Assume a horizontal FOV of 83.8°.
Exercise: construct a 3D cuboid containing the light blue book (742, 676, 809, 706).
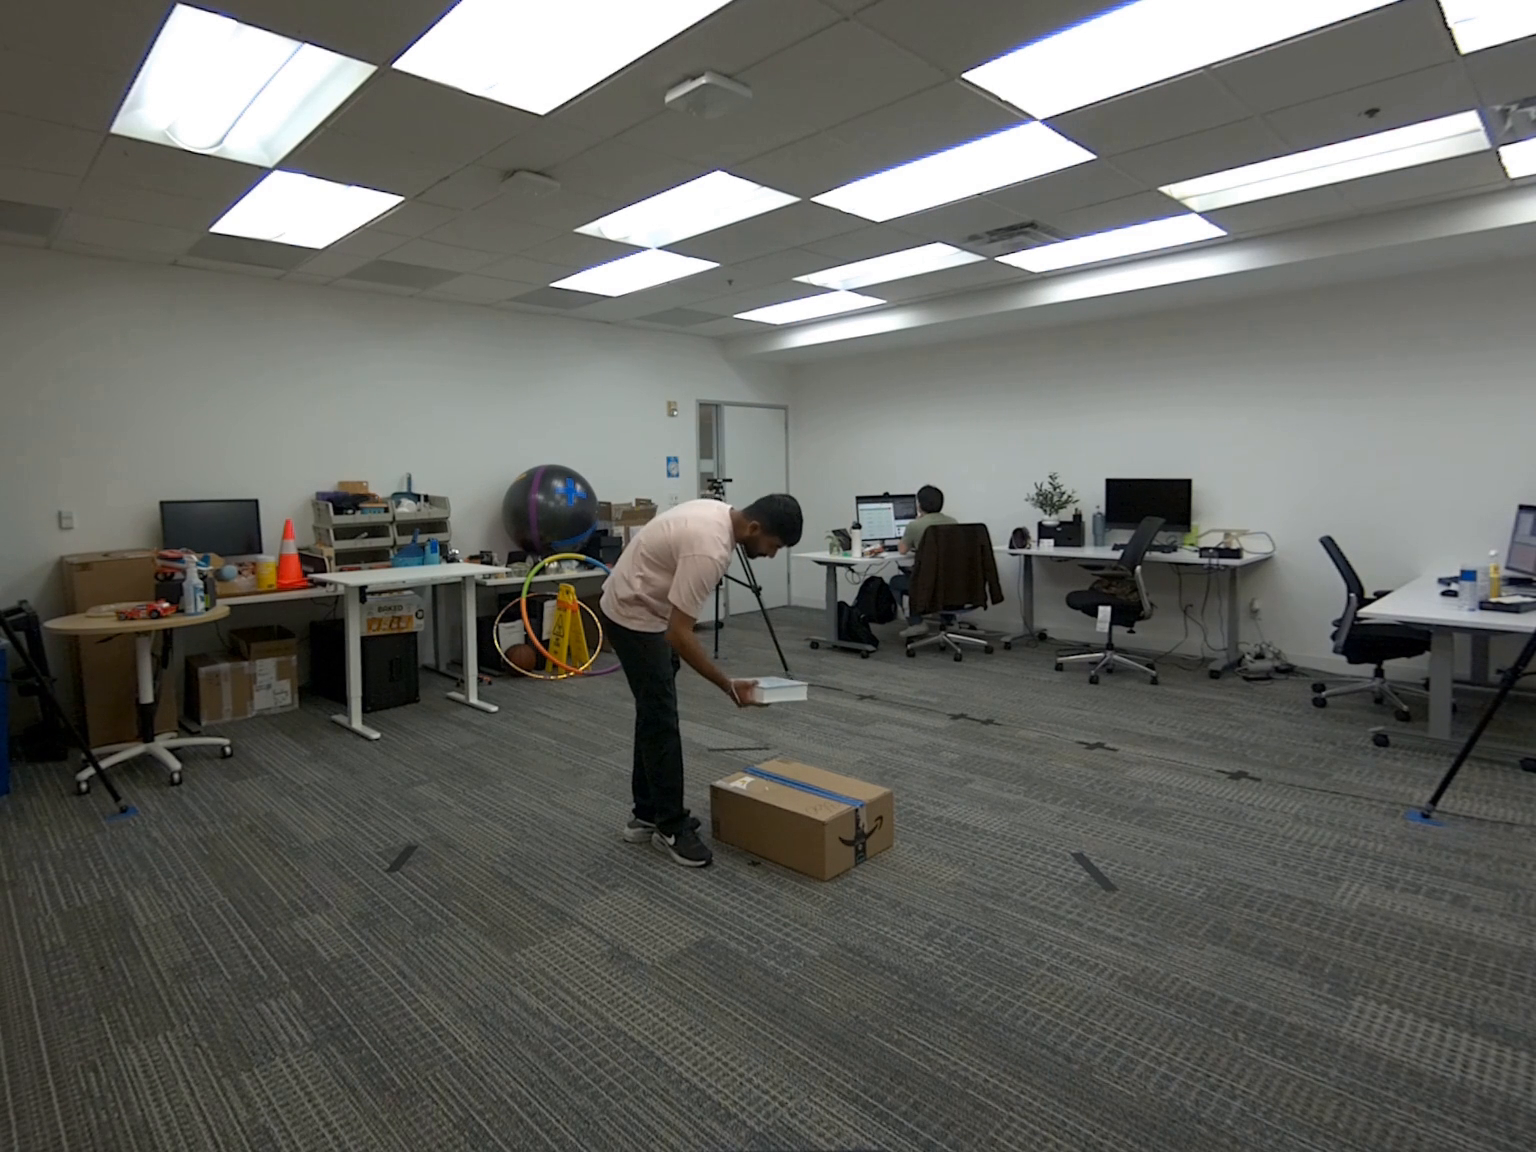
[{"bbox_3d":[-0.008,0.416,3.128,0.197,0.059,0.253,3,0,42],"label":"light blue book"}]
